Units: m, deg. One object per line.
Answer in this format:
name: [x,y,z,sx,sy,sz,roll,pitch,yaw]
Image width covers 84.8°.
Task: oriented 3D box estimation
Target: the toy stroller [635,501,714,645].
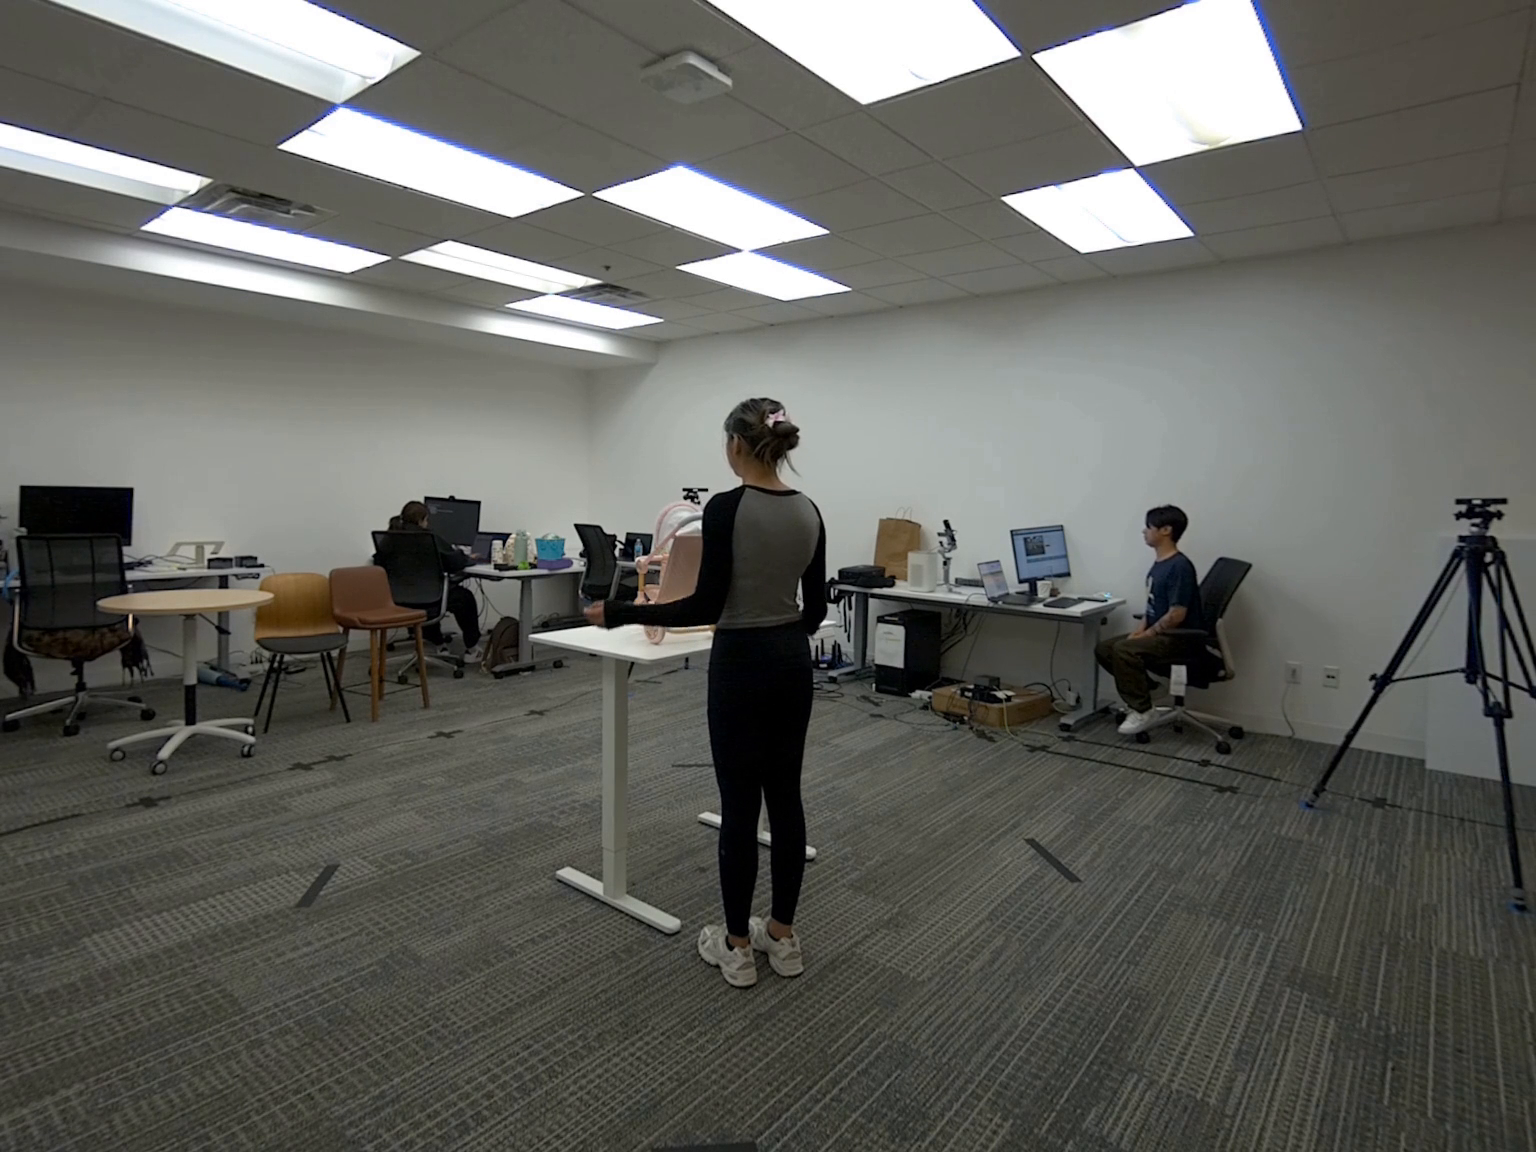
toy stroller: [-0.313,-0.018,2.877,0.274,0.528,0.355,-2,21,-32]
